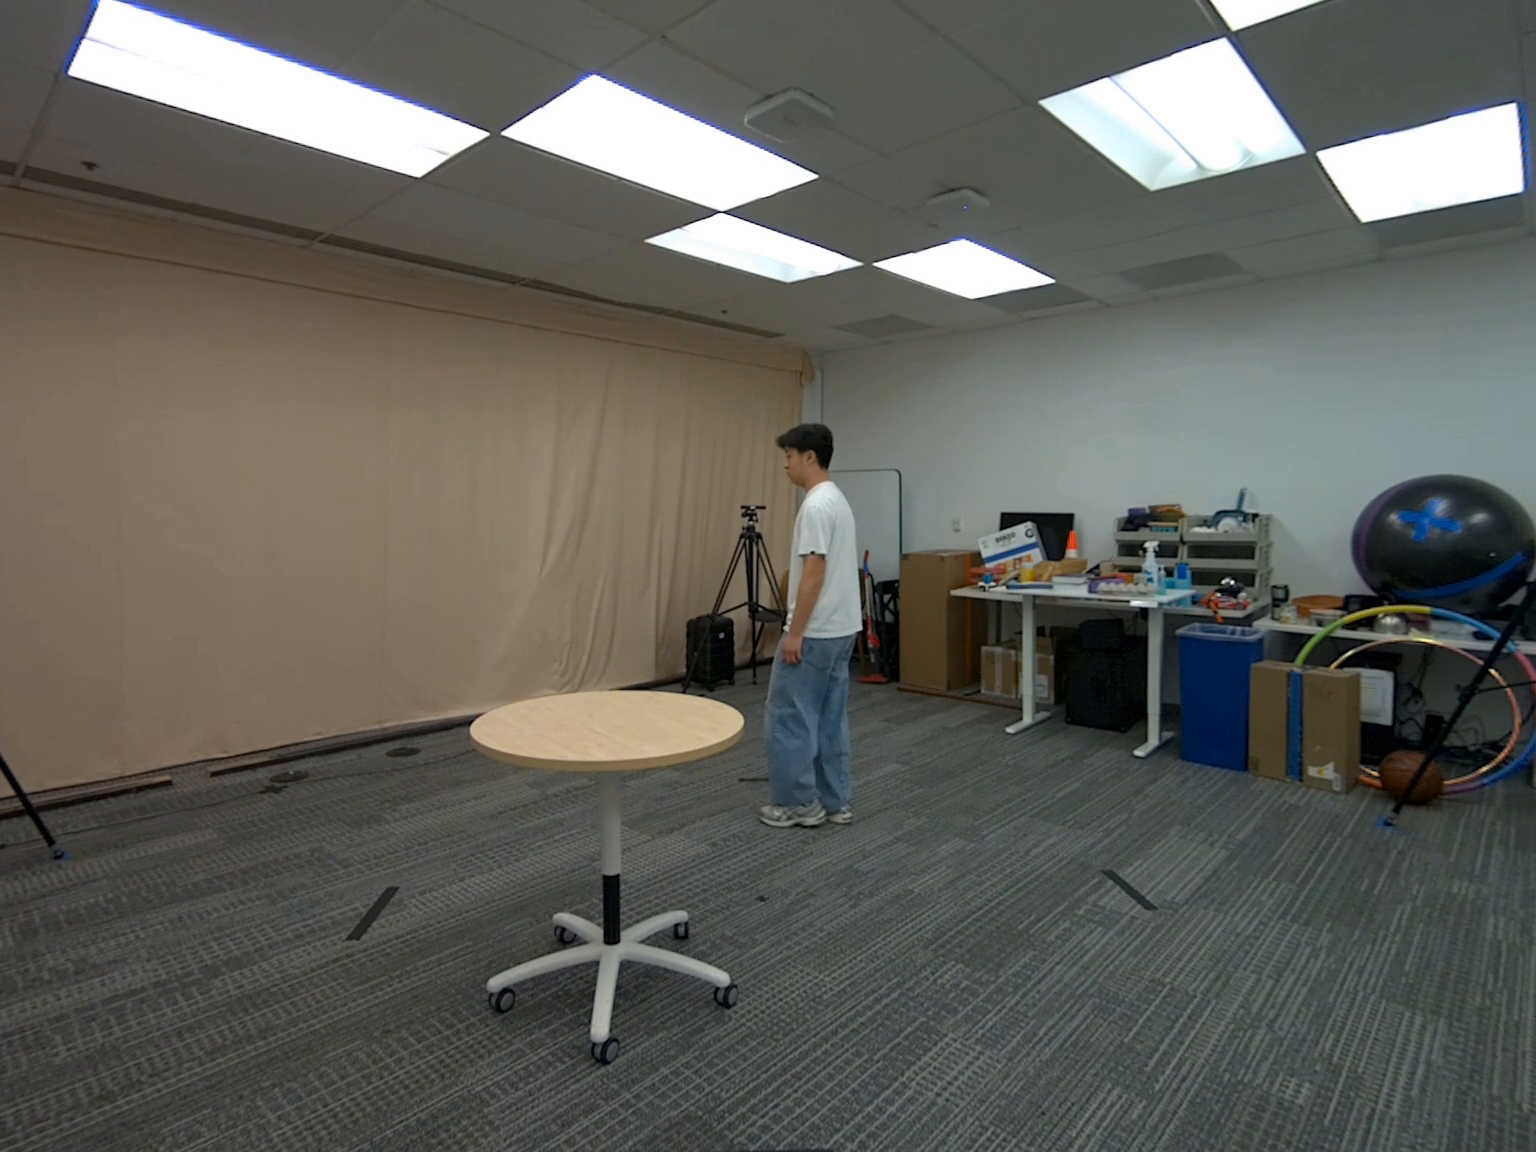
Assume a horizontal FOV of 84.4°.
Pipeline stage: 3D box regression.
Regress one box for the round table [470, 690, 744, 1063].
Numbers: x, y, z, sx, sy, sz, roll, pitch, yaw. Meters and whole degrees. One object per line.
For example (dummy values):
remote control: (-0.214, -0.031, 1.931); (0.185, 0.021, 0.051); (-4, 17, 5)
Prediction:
round table: (-0.442, 0.807, 2.410); (0.763, 0.792, 0.767); (0, 4, -2)
